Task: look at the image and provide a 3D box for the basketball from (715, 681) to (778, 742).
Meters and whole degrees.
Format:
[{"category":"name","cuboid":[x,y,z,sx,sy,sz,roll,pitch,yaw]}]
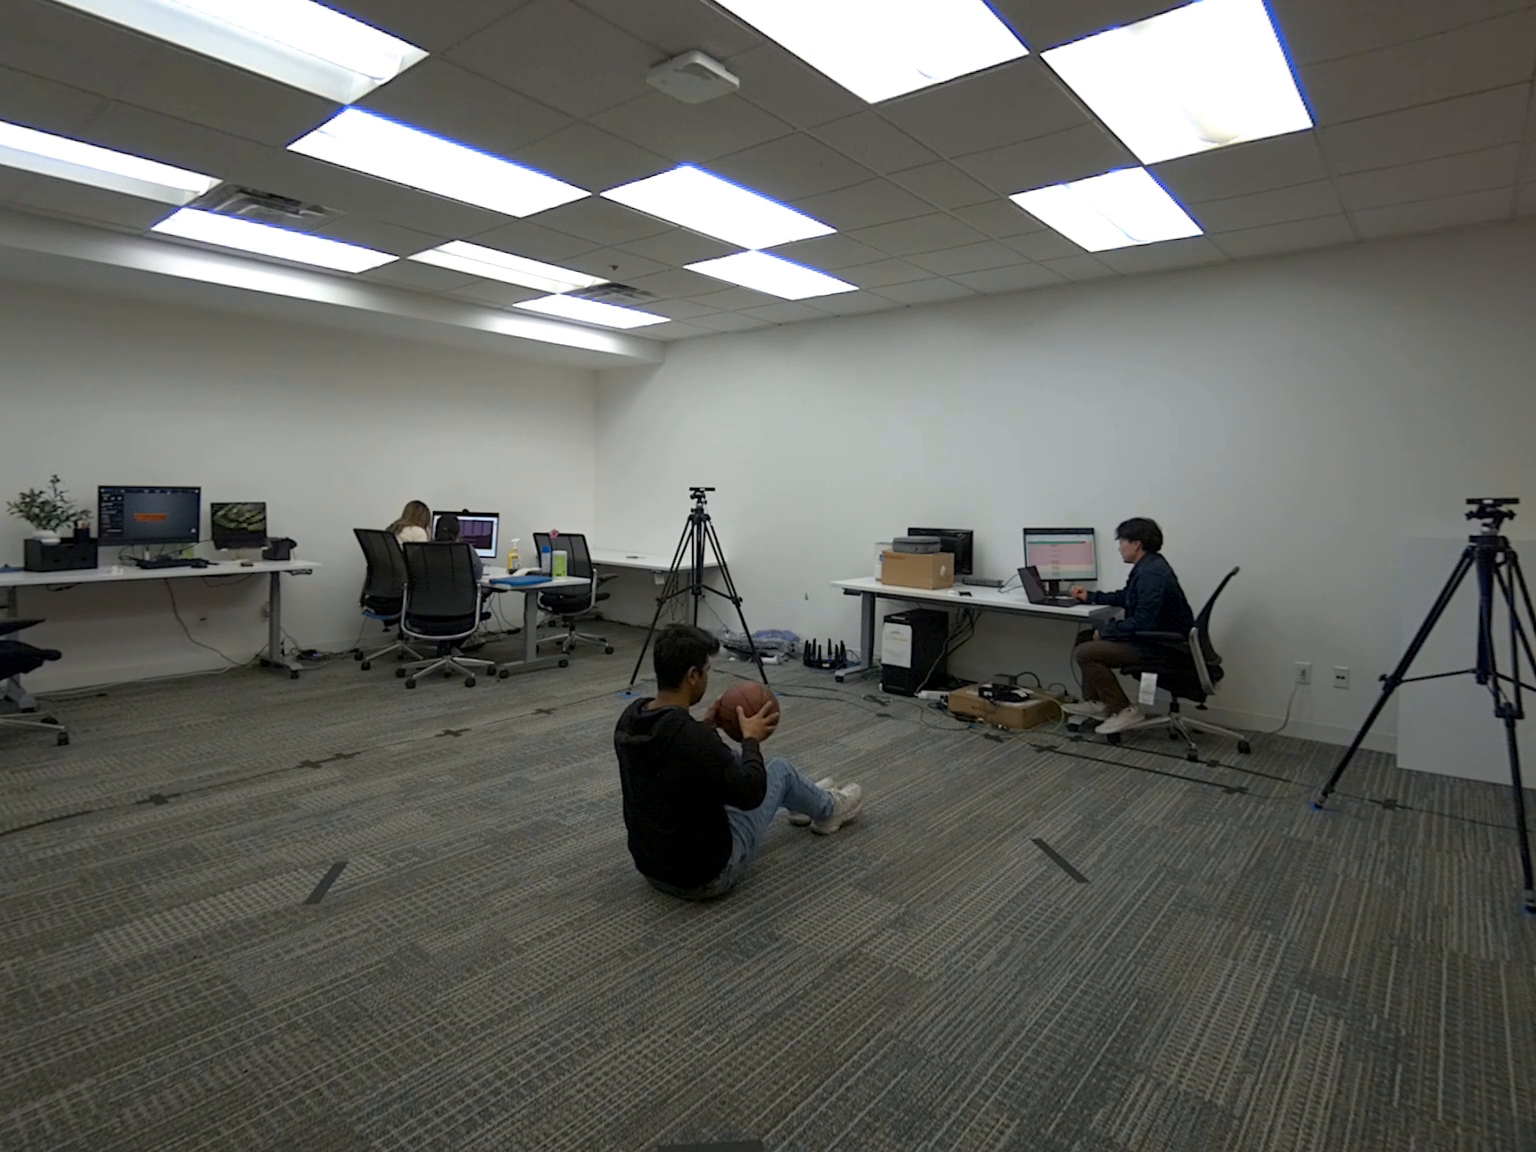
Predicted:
[{"category":"basketball","cuboid":[-0.100,0.533,3.257,0.235,0.235,0.237,1,4,-2]}]
